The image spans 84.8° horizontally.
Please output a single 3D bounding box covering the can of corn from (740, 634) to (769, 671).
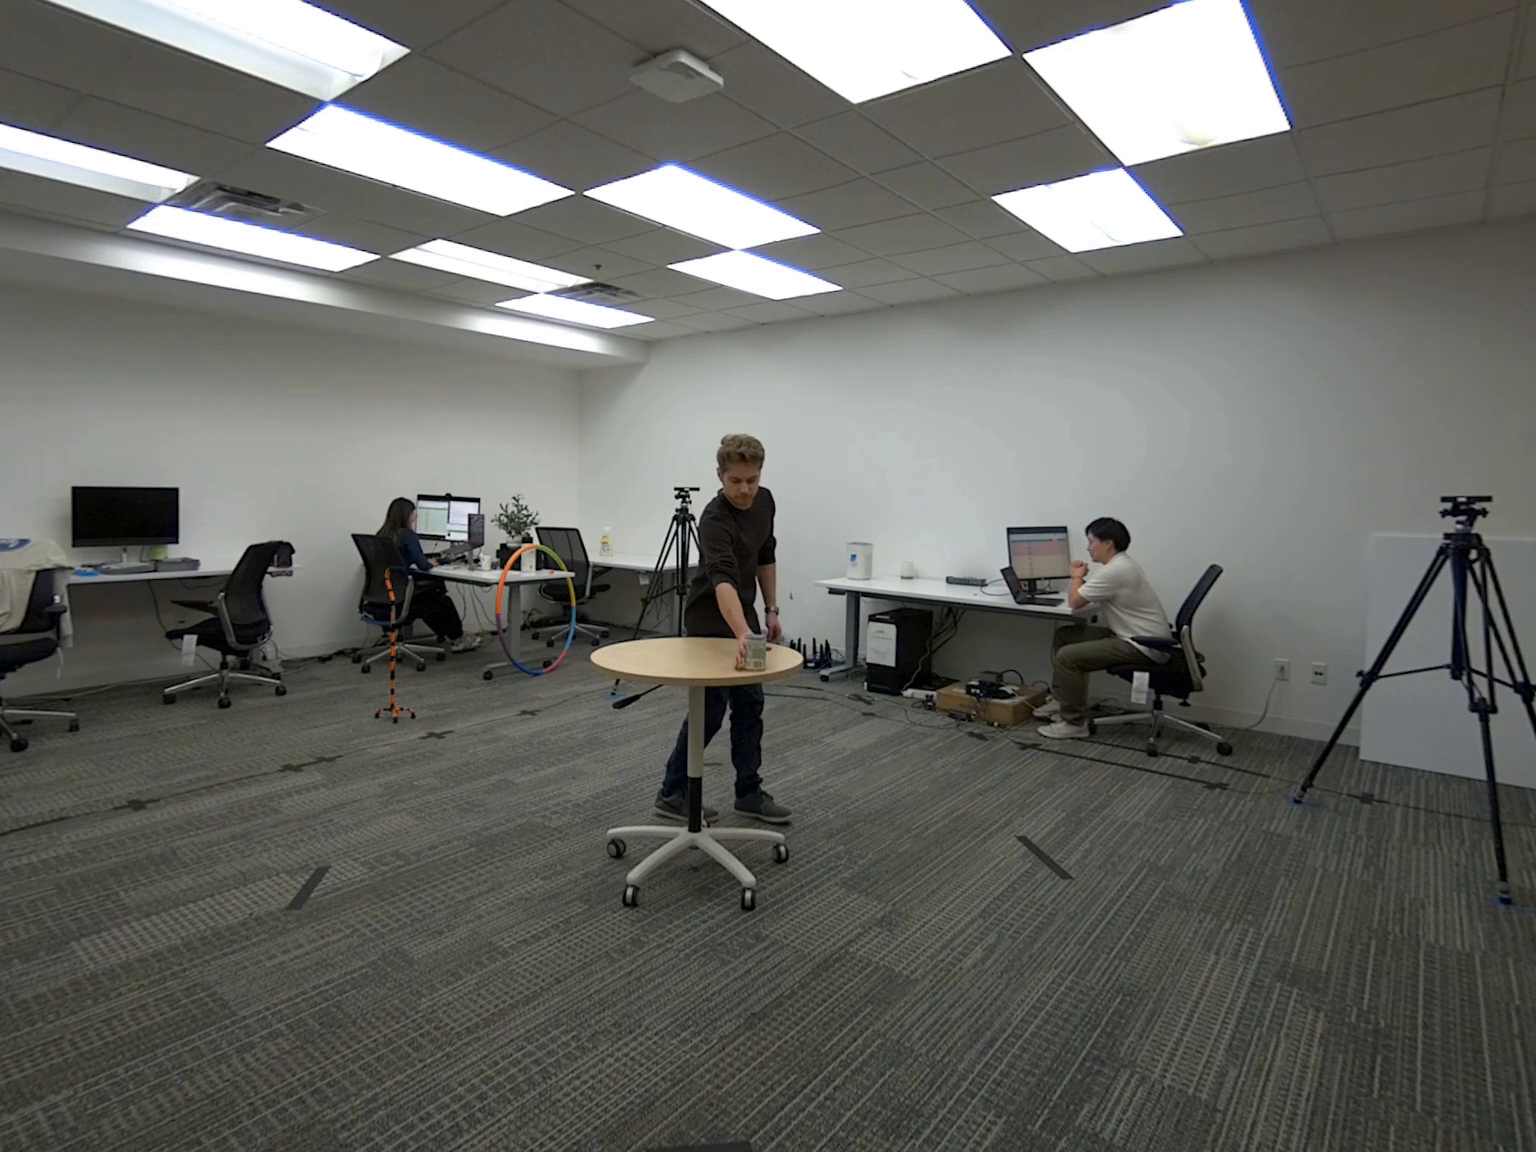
[{"bbox_3d":[-0.057,0.255,2.827,0.074,0.111,0.074,-1,2,-2],"label":"can of corn"}]
